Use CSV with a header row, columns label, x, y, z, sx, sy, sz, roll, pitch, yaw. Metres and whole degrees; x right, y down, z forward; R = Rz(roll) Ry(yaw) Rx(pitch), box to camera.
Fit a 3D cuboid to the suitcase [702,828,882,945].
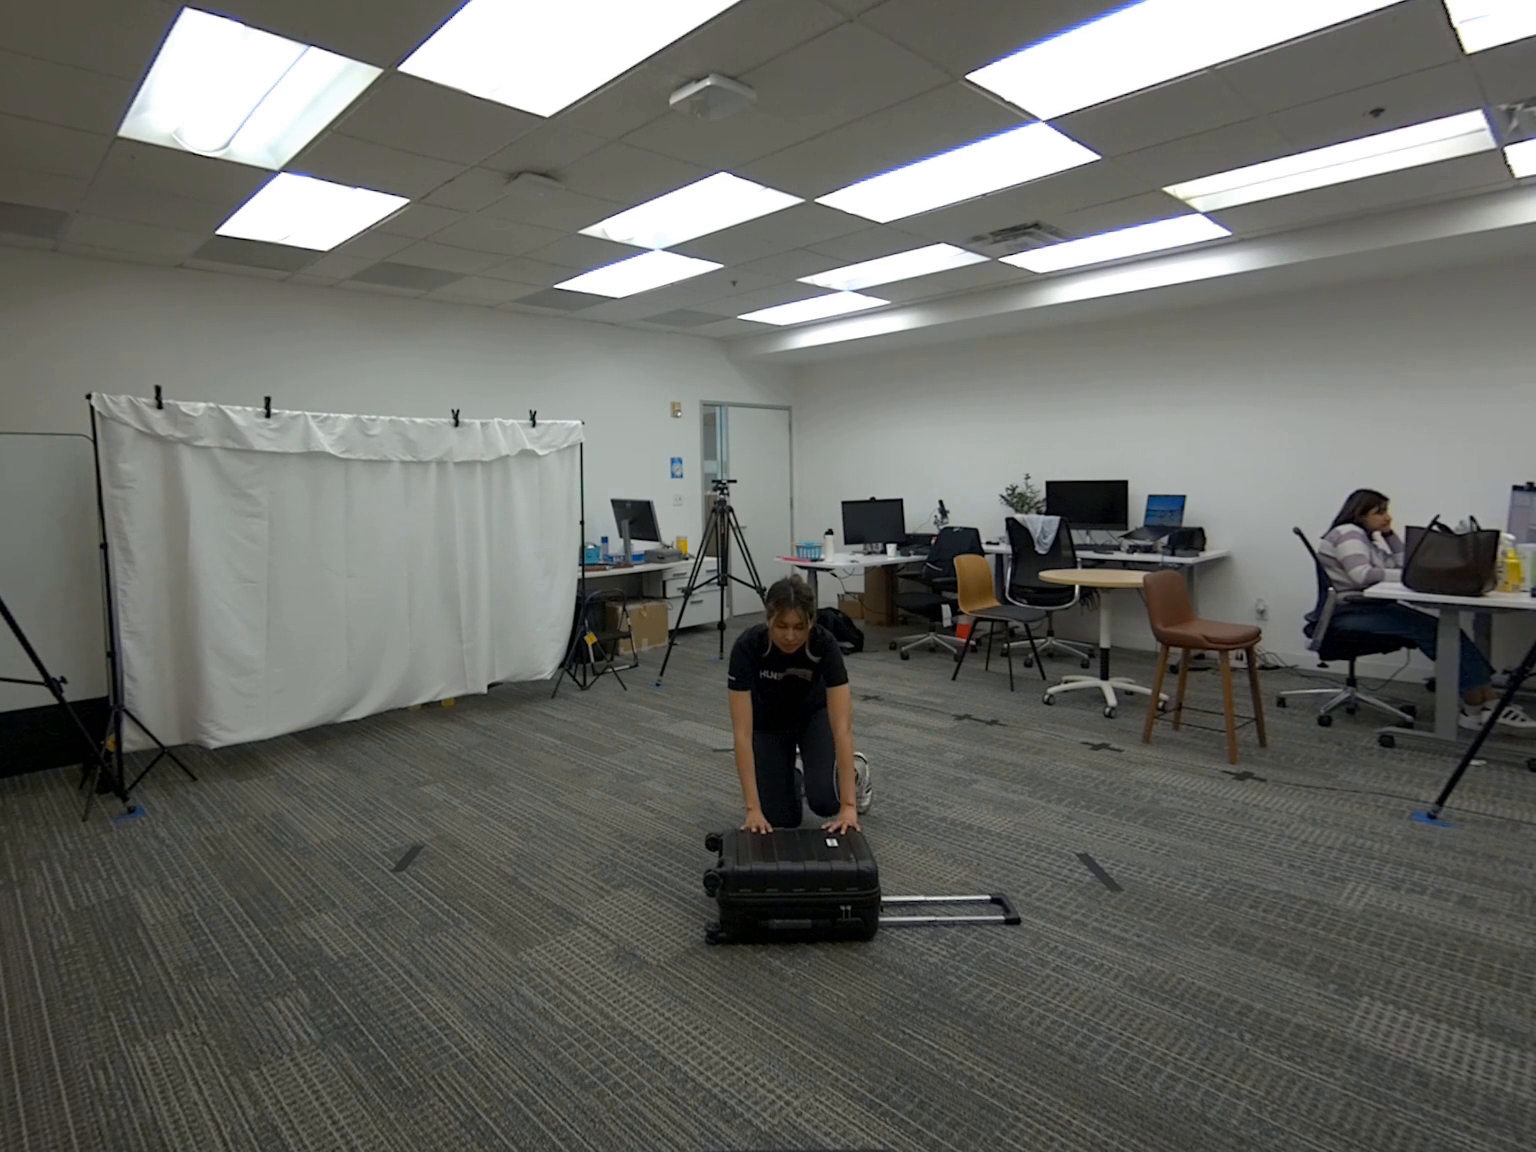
label,x,y,z,sx,sy,sz,roll,pitch,yaw
suitcase,0.282,0.969,2.711,0.979,0.256,0.385,-3,4,0
